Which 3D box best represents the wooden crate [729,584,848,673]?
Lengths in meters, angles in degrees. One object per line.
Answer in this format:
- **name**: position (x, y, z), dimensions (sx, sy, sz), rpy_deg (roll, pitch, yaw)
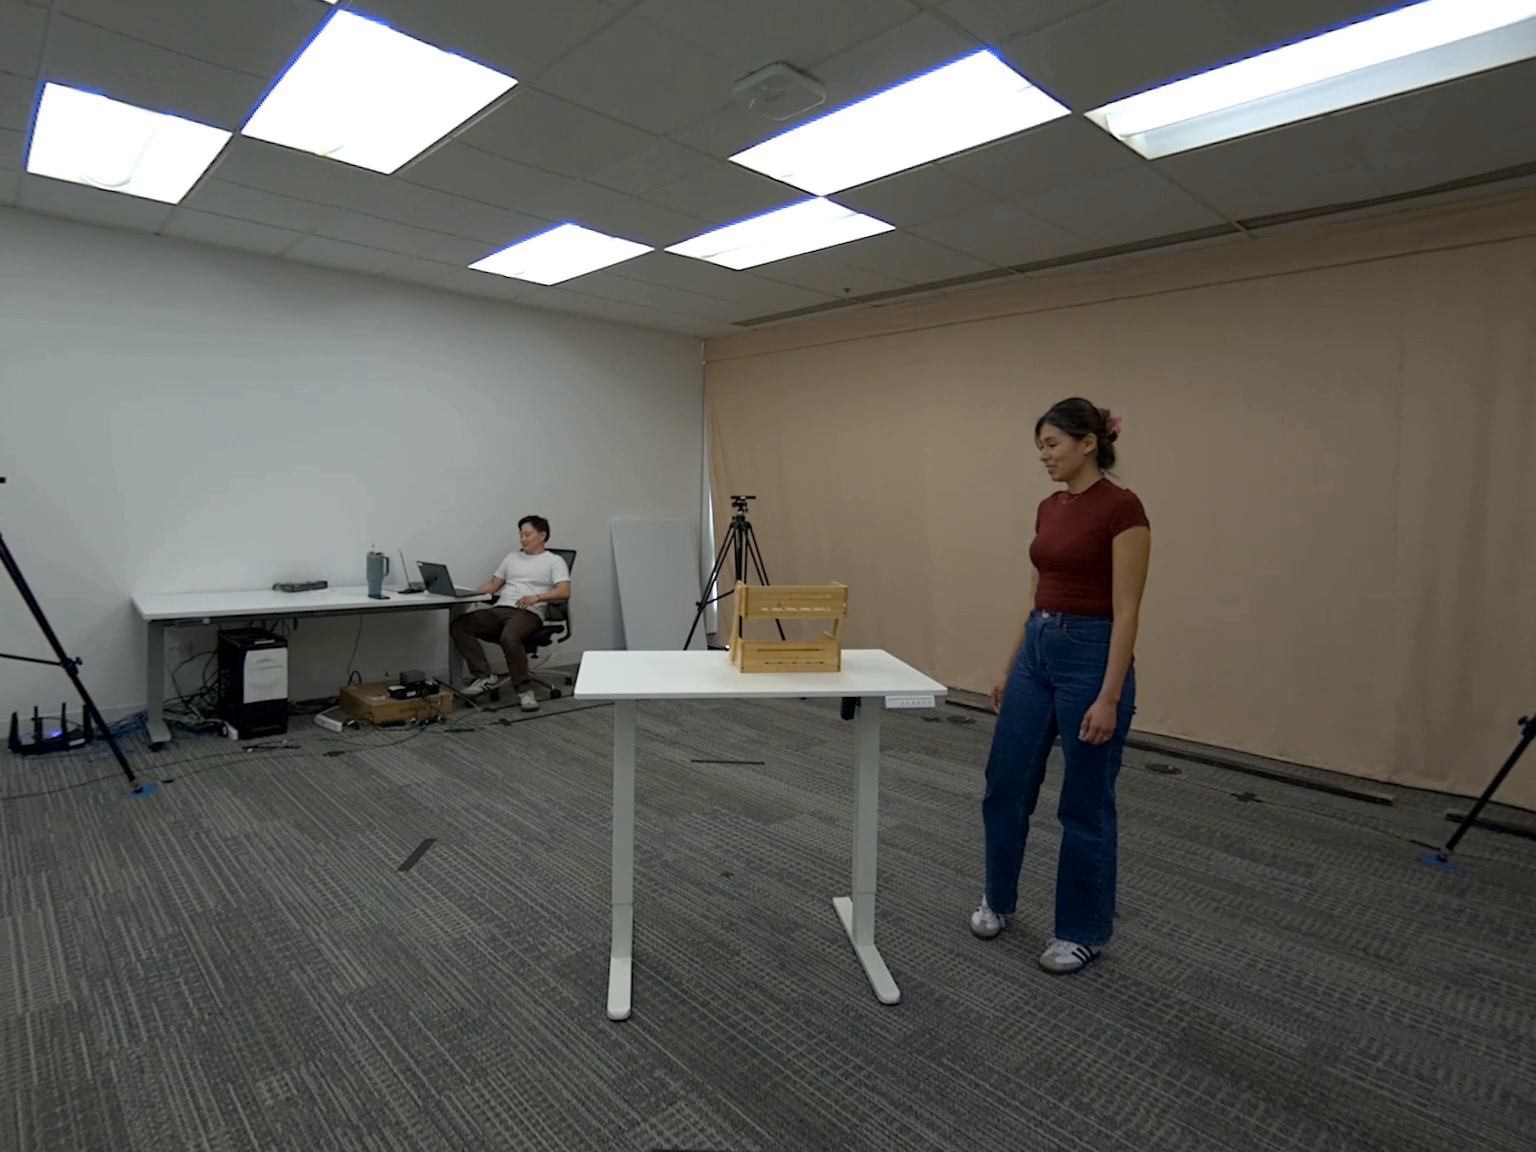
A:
- **wooden crate**: position (0.052, 0.142, 2.568), dimensions (0.322, 0.272, 0.305), rpy_deg (0, 6, -10)
